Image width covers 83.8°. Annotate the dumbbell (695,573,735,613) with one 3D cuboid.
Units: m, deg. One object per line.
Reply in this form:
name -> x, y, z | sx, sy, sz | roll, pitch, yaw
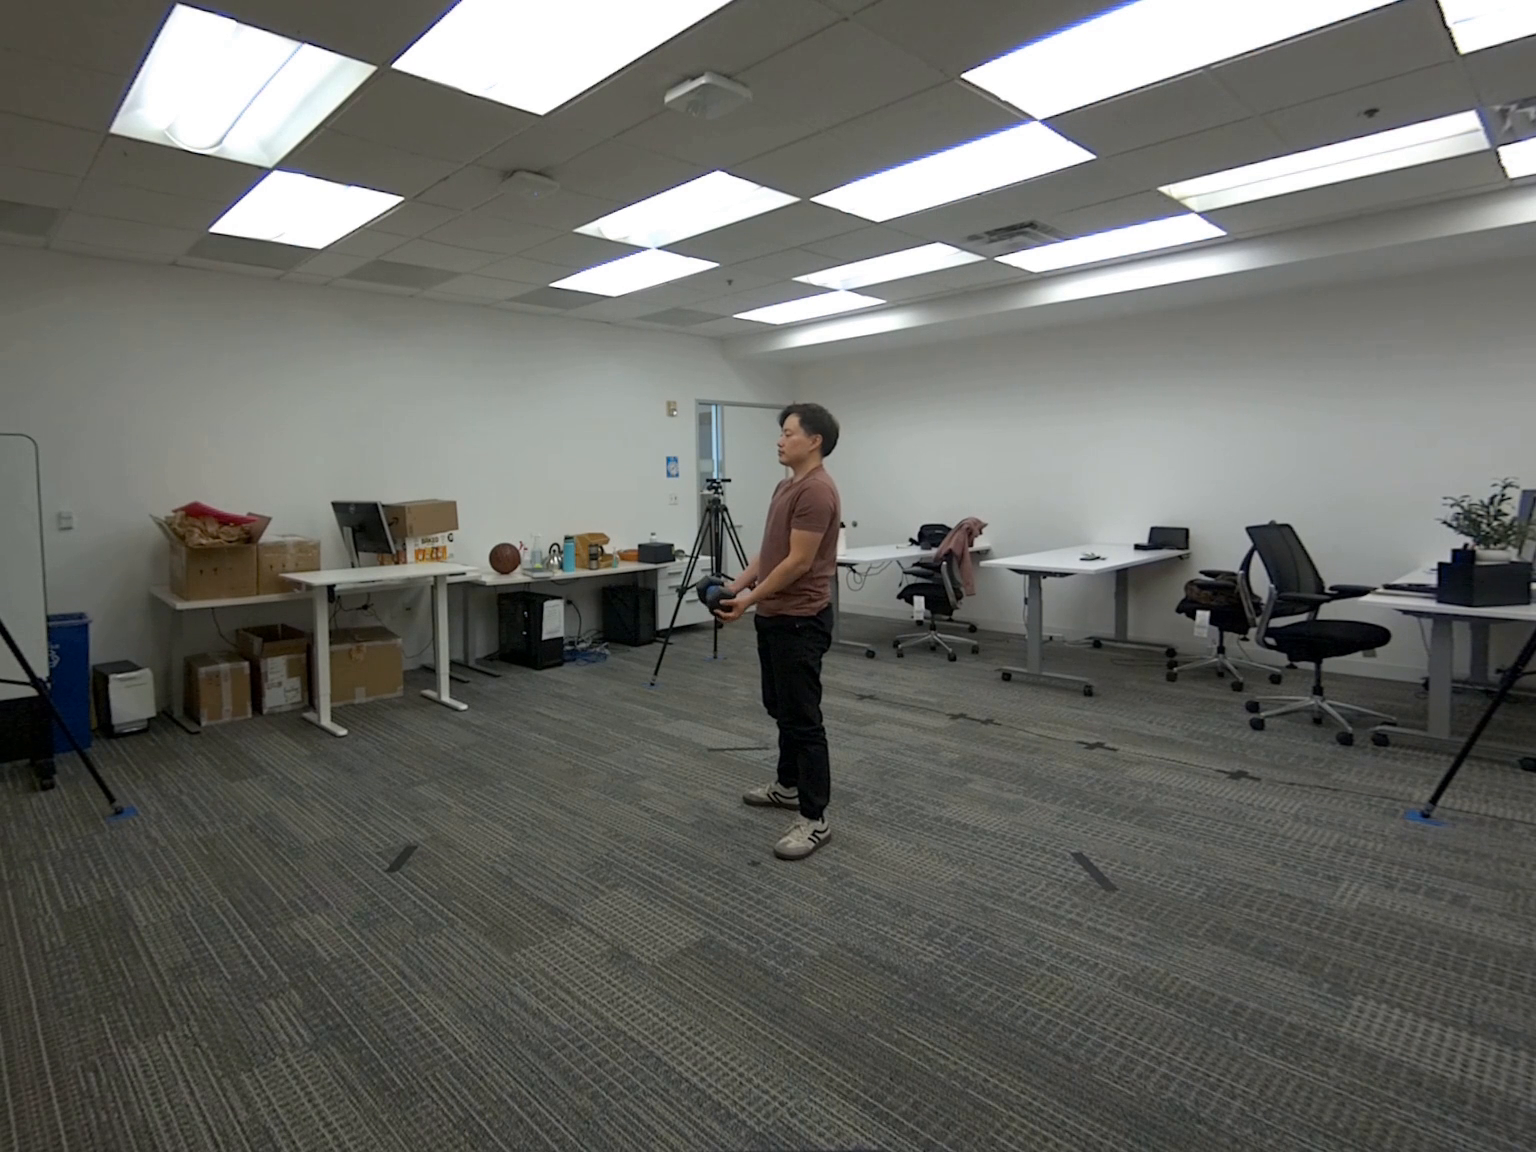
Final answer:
dumbbell -> -0.197, 0.074, 3.357 | 0.123, 0.106, 0.299 | -44, 17, -2
